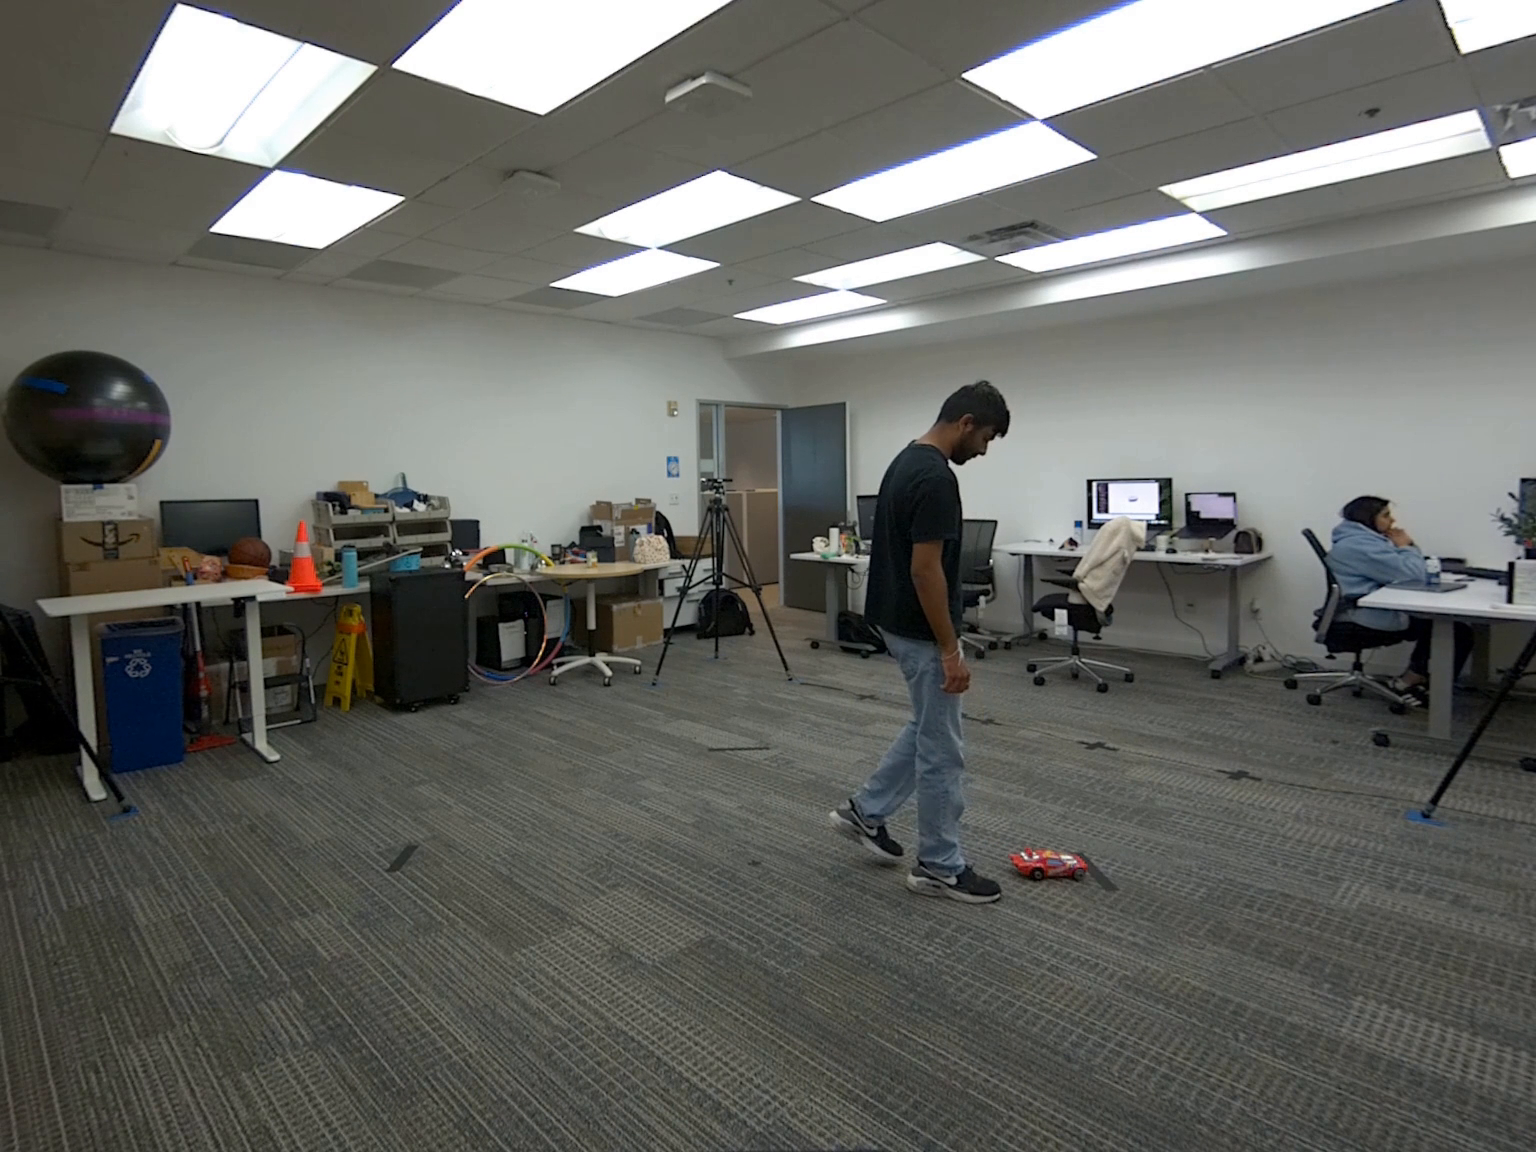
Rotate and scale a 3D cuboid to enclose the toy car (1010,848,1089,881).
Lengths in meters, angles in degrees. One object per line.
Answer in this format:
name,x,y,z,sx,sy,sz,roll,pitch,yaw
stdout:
toy car,0.972,1.006,2.977,0.254,0.083,0.131,10,6,-1
